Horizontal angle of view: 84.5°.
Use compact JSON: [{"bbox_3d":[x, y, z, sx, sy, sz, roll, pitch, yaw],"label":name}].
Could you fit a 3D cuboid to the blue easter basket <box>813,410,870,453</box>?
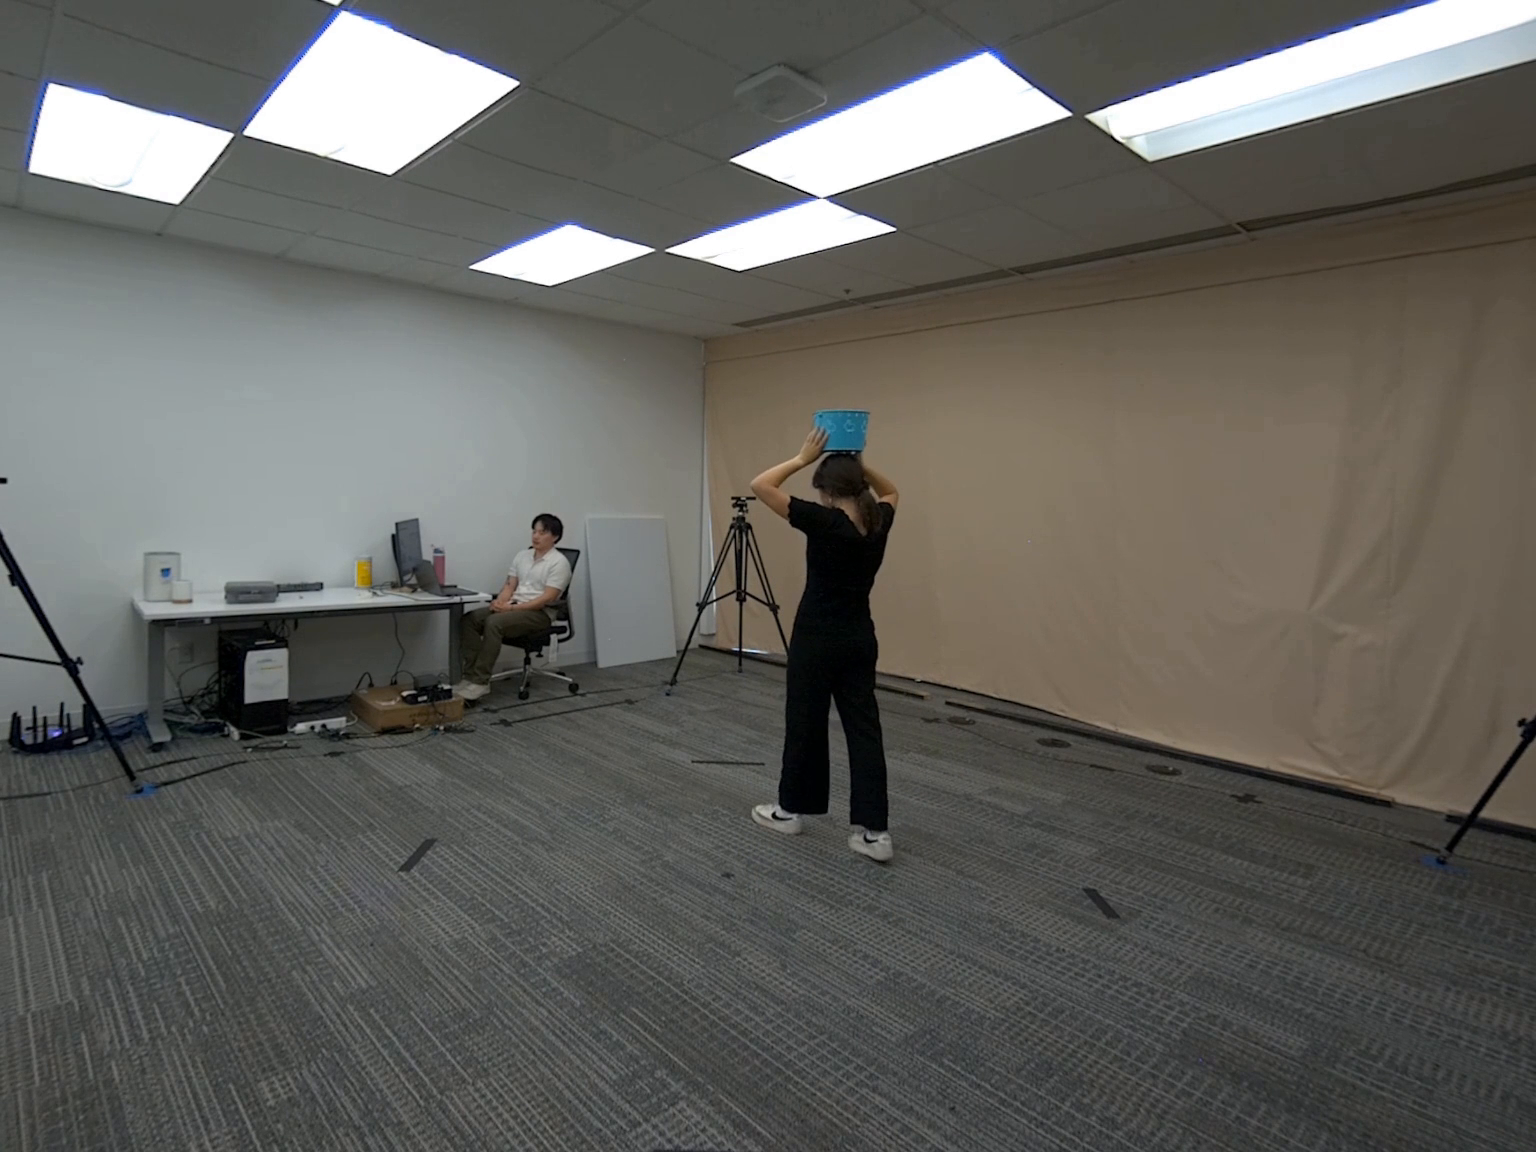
[{"bbox_3d":[0.289,-0.579,3.381,0.243,0.155,0.245,1,6,-1],"label":"blue easter basket"}]
